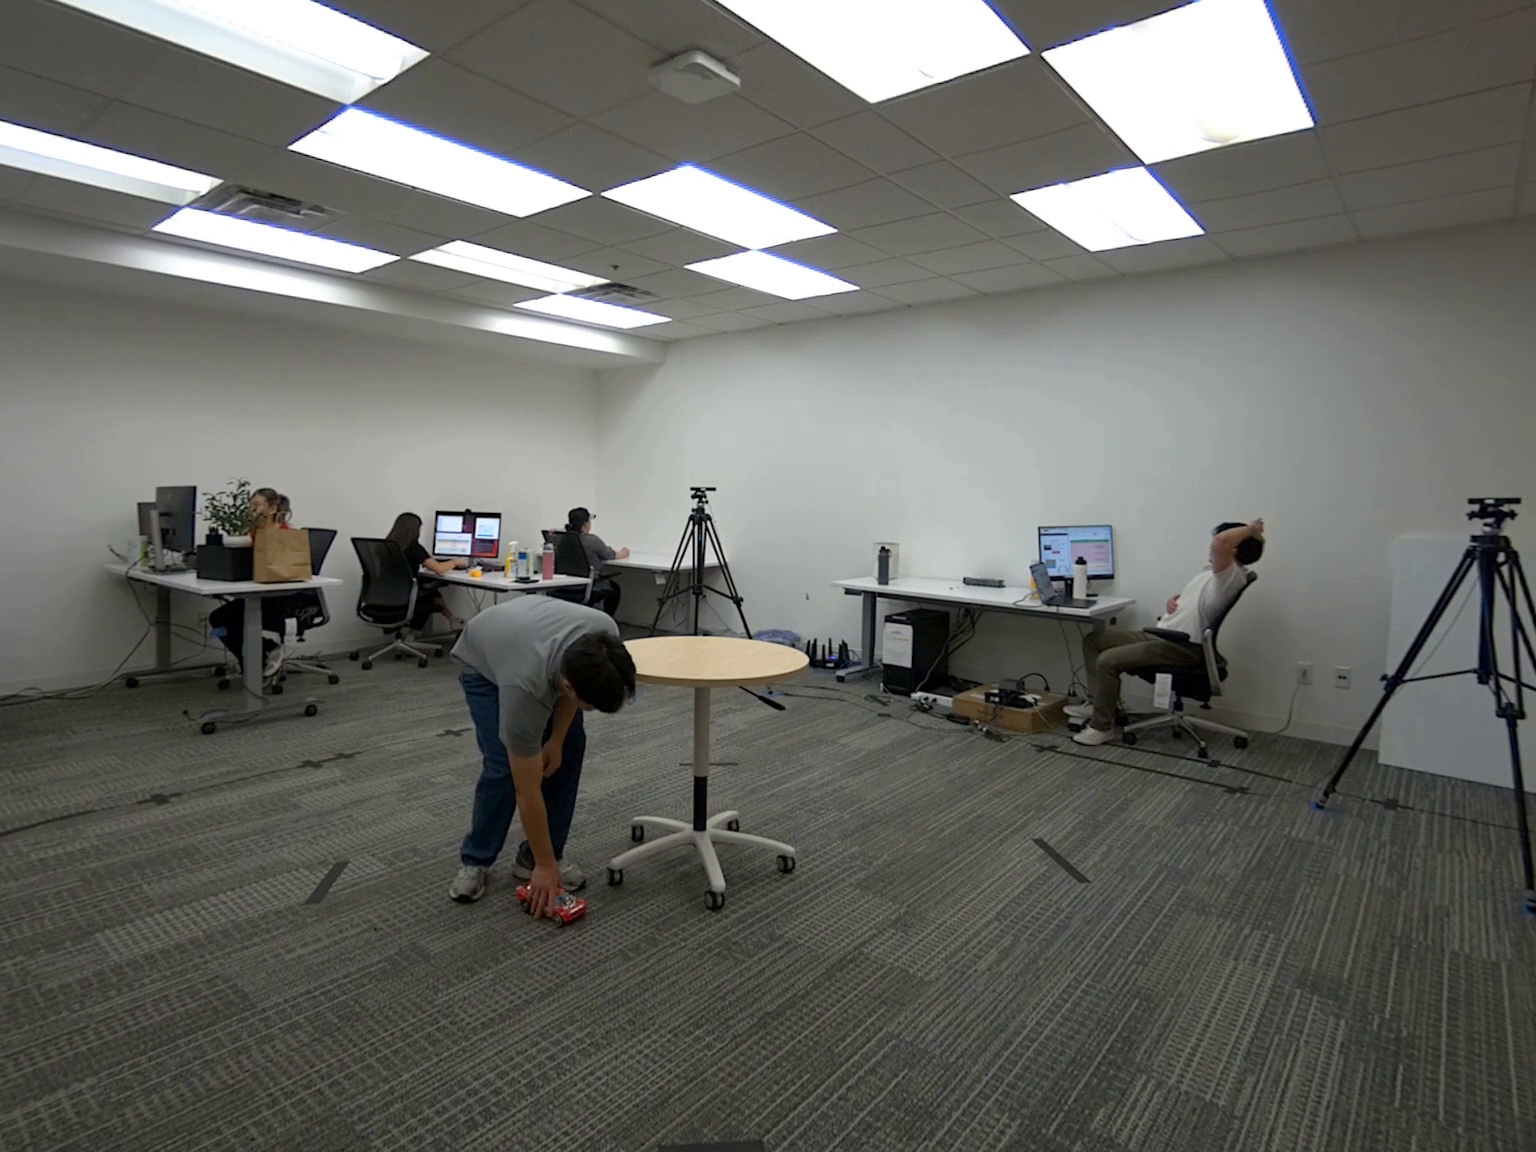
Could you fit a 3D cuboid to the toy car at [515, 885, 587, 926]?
[{"bbox_3d":[-0.720,1.059,2.768,0.263,0.082,0.127,15,12,32],"label":"toy car"}]
